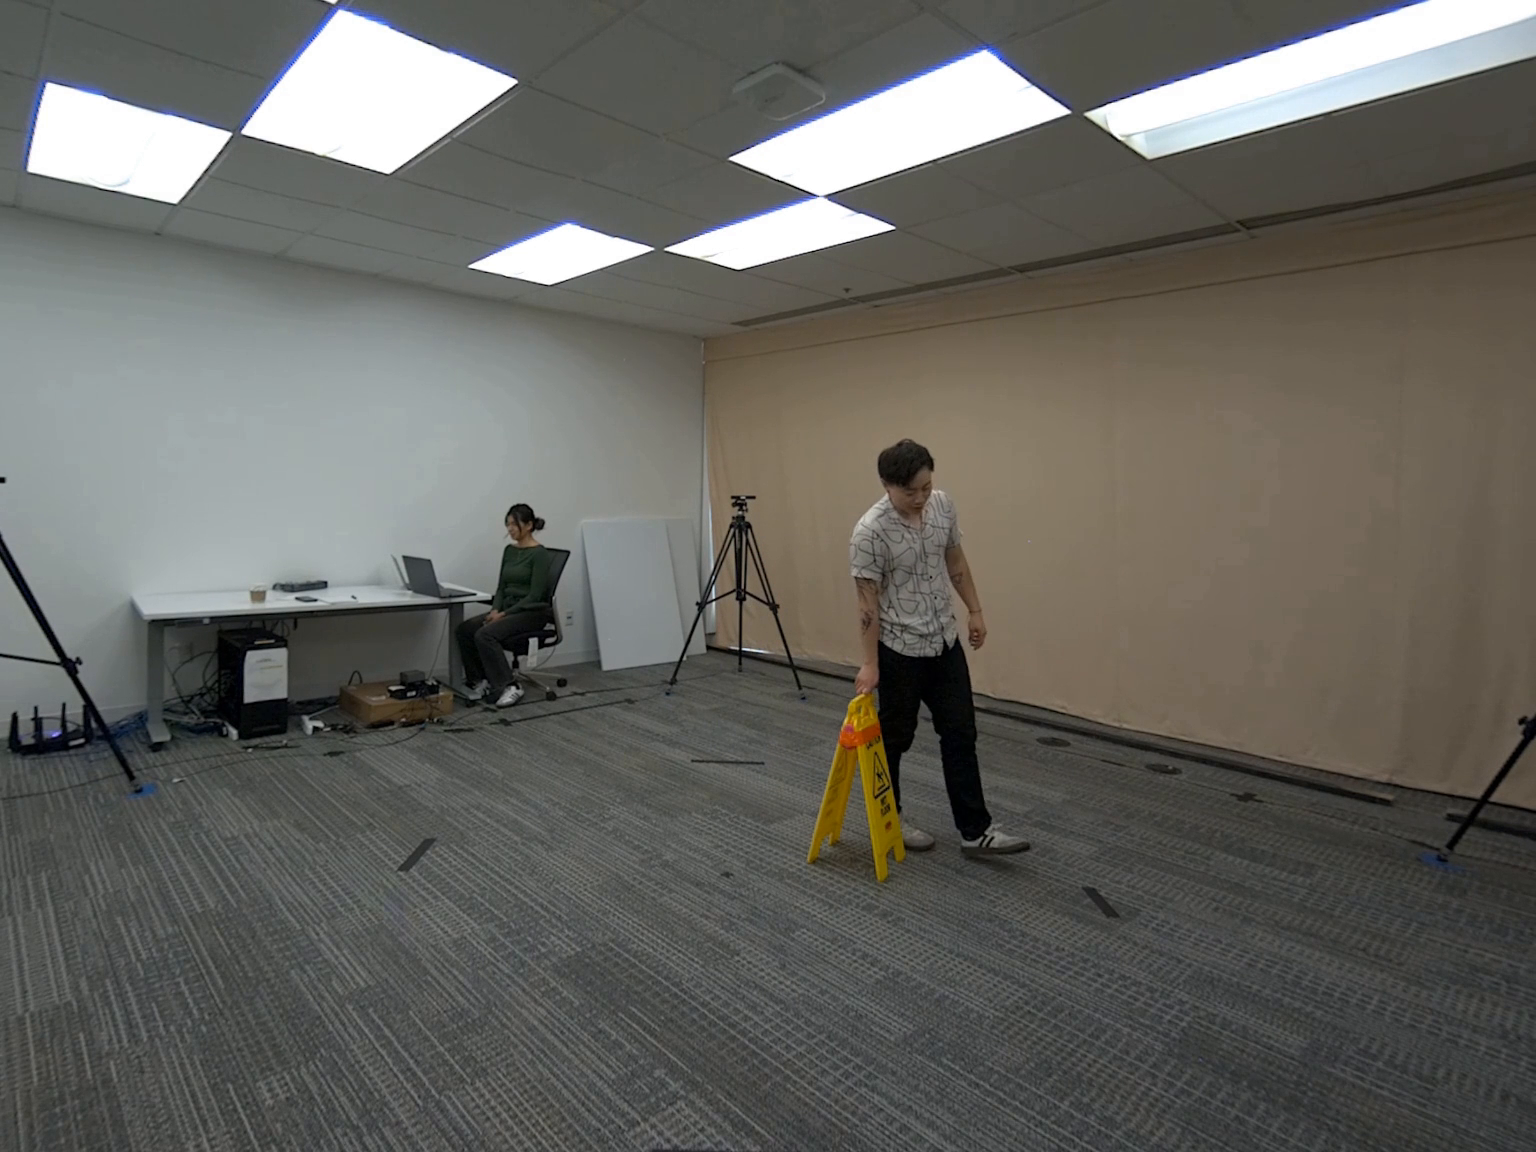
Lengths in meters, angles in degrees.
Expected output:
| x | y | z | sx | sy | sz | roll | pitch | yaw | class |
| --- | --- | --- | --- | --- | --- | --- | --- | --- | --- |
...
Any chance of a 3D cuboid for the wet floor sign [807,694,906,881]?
| x | y | z | sx | sy | sz | roll | pitch | yaw | class |
| --- | --- | --- | --- | --- | --- | --- | --- | --- | --- |
| 0.340 | 0.778 | 3.241 | 0.296 | 0.645 | 0.277 | 2 | 2 | 28 | wet floor sign |
